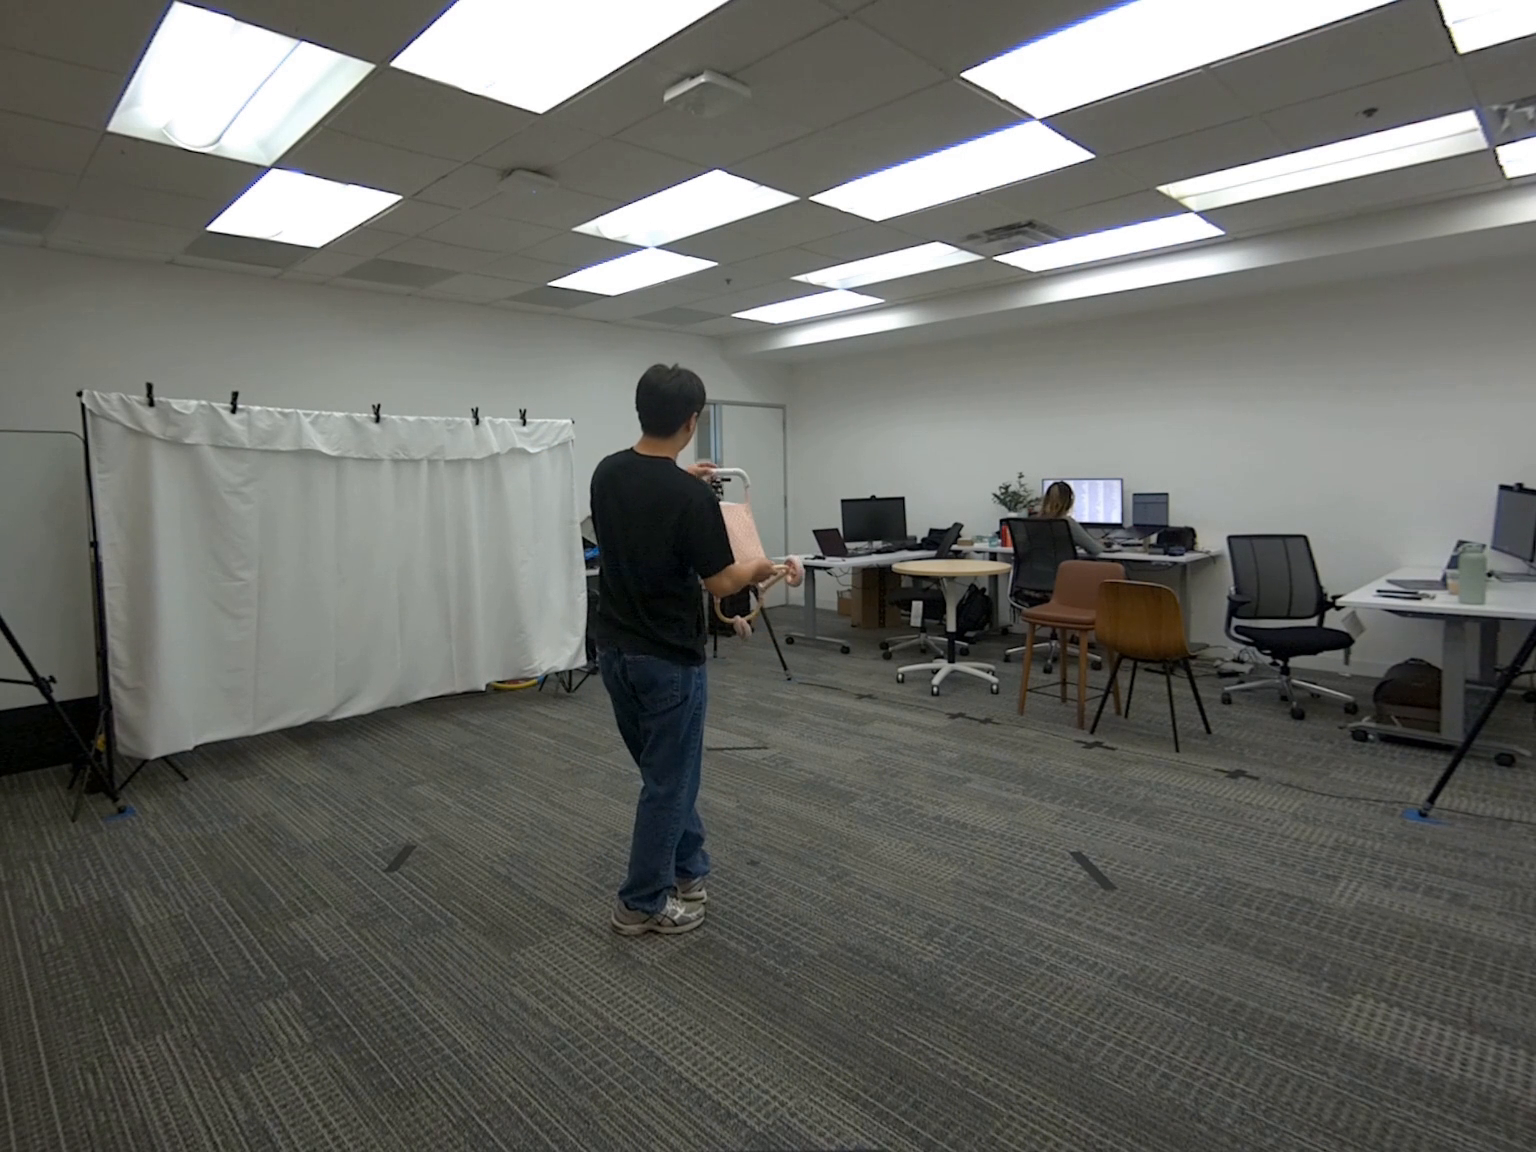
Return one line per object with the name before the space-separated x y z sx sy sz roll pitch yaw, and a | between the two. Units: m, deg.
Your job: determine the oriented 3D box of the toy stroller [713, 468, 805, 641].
toy stroller | -0.112 -0.069 3.007 0.275 0.552 0.338 -7 -34 -31
